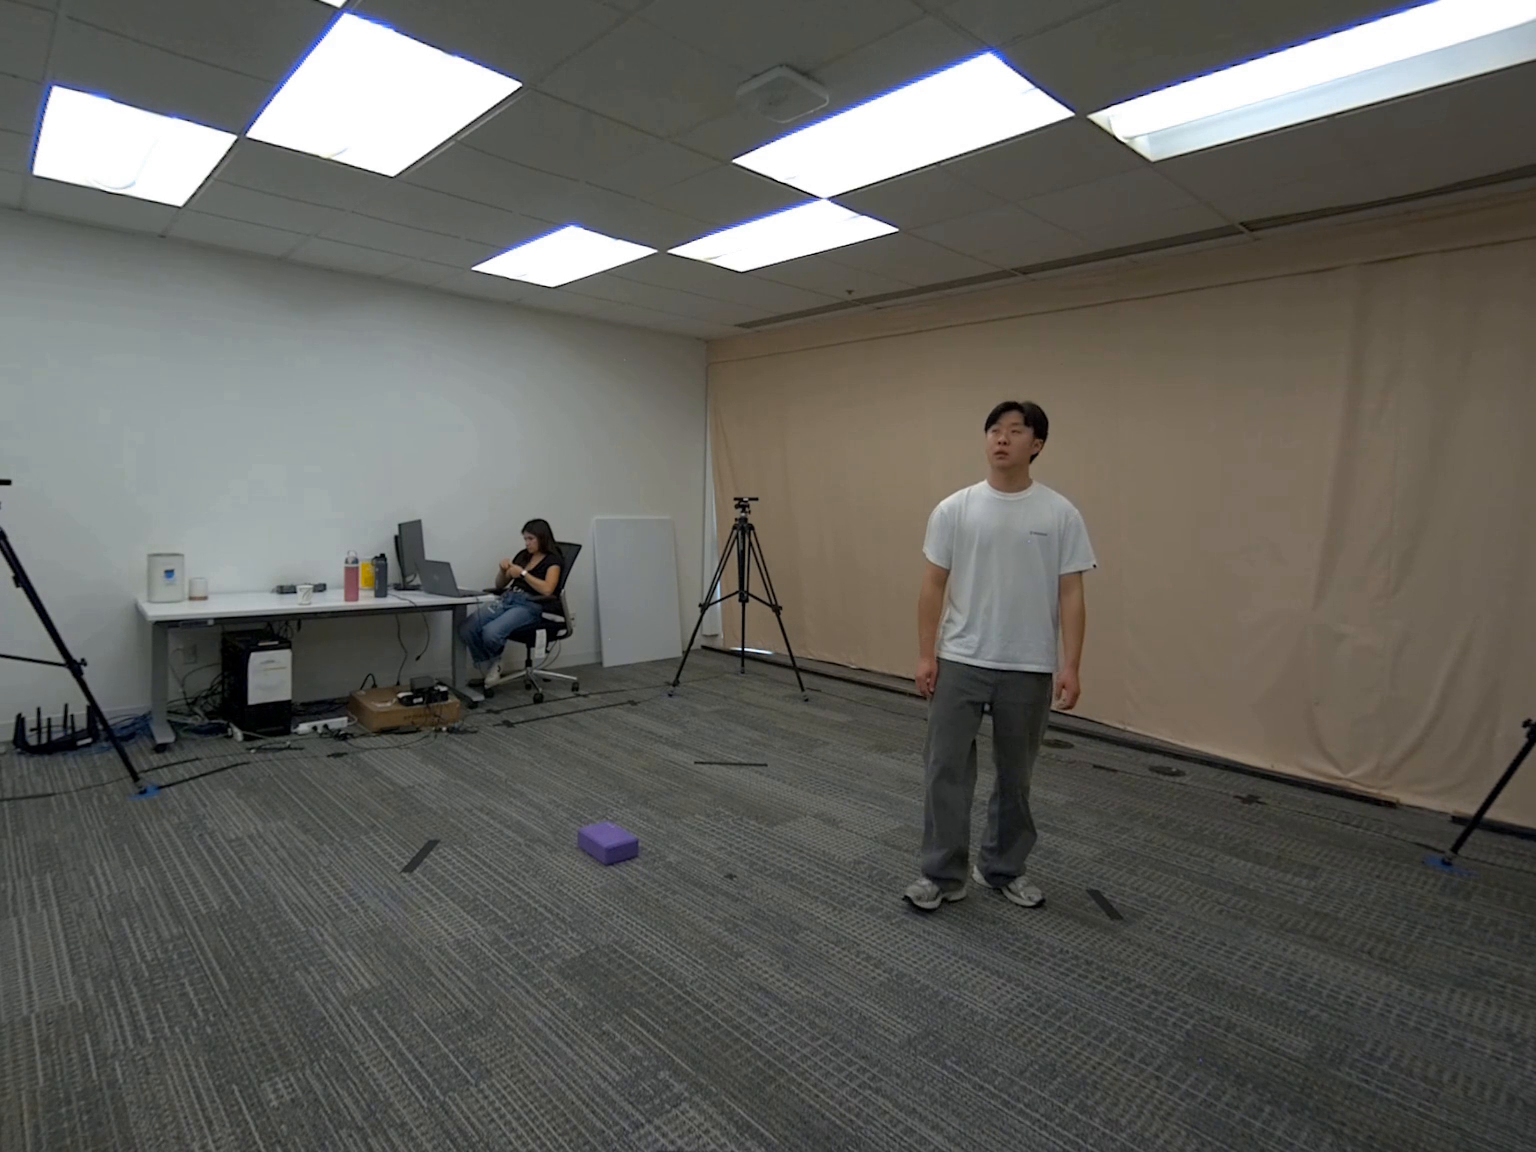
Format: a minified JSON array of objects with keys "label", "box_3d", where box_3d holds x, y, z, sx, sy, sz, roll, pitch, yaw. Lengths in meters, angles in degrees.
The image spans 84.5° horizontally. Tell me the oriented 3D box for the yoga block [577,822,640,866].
[{"label":"yoga block","box_3d":[-0.633,1.039,3.290,0.145,0.076,0.235,-3,6,-41]}]
